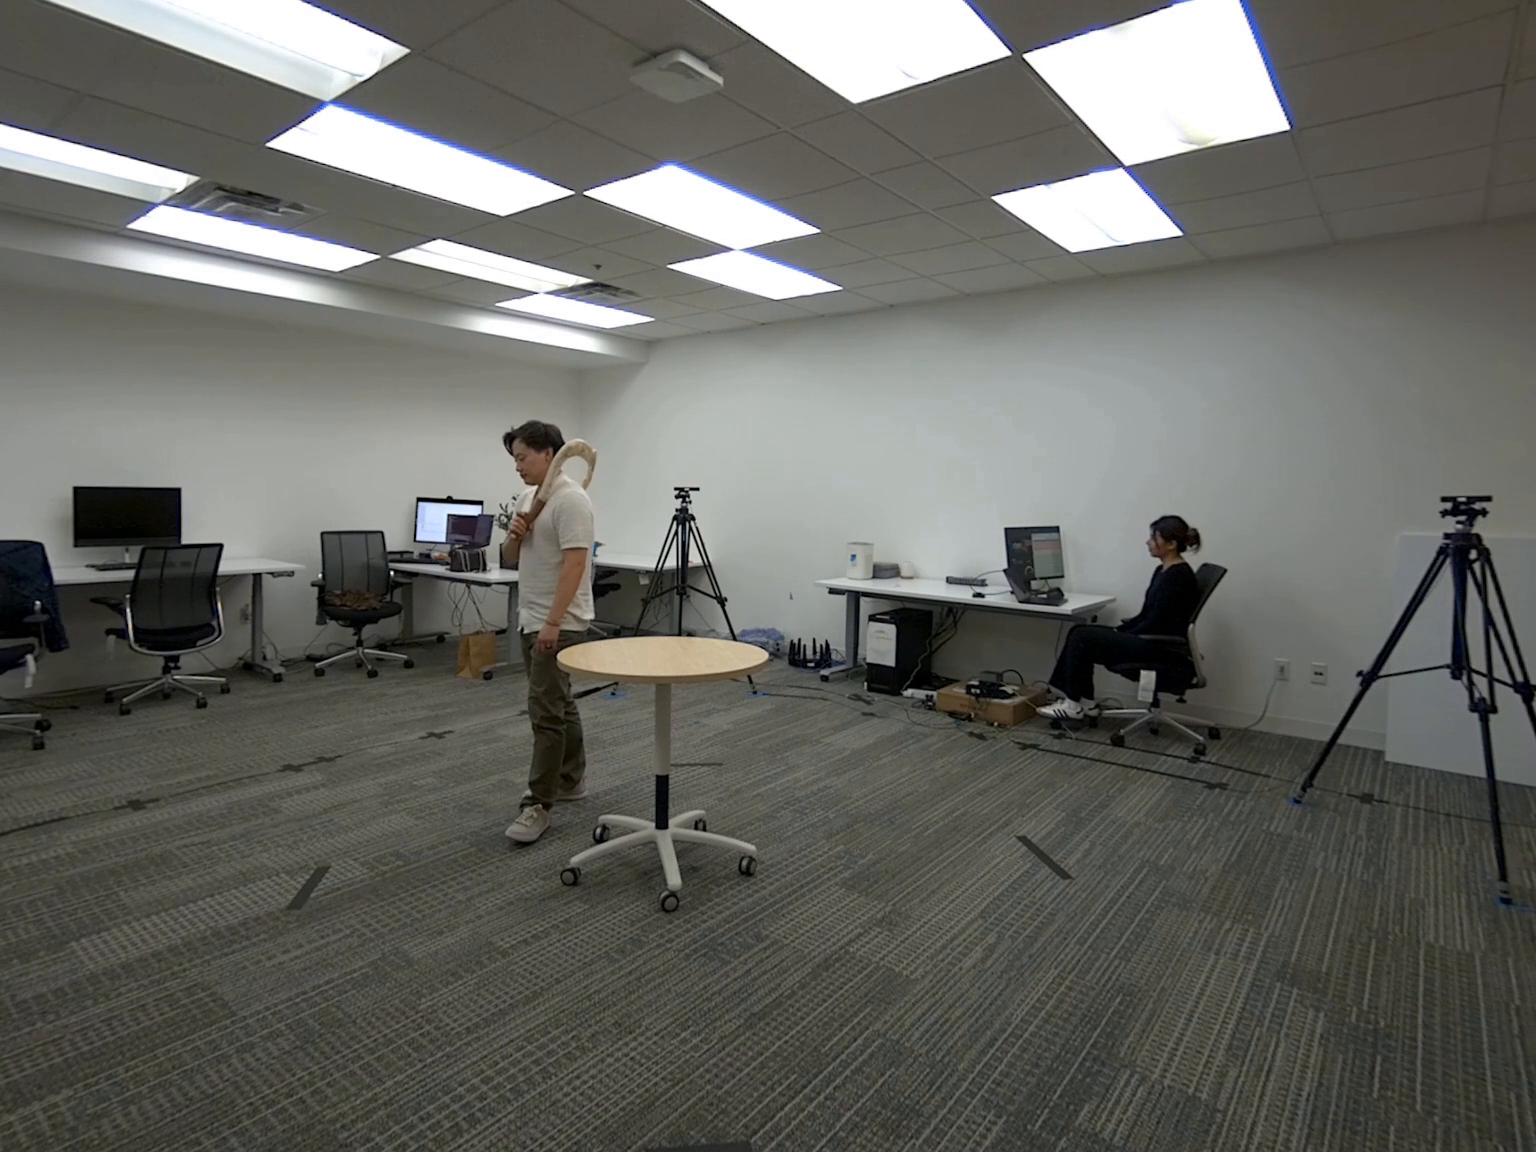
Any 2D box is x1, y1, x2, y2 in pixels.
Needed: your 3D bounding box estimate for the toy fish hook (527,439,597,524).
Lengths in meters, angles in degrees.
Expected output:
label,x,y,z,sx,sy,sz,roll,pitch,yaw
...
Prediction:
label,x,y,z,sx,sy,sz,roll,pitch,yaw
toy fish hook,-0.907,-0.345,3.576,0.050,0.507,0.215,26,-9,47
